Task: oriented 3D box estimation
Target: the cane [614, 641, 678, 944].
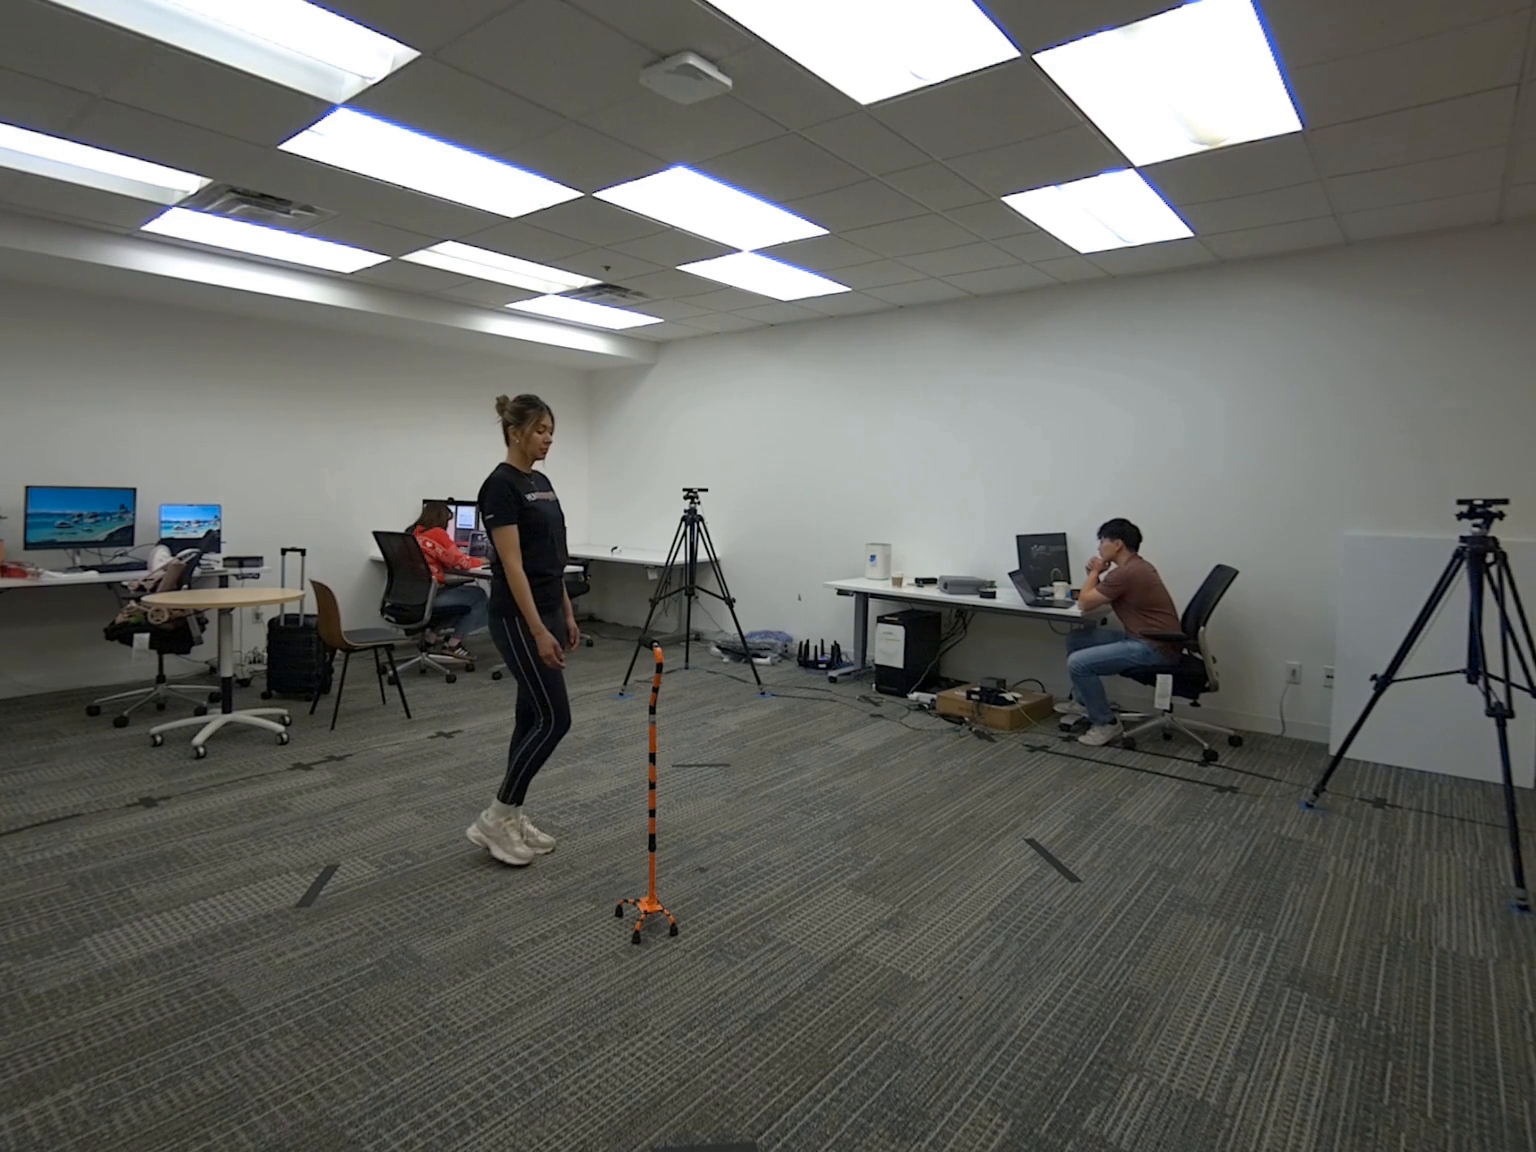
[{"bbox_3d":[-0.389,0.656,2.679,0.148,0.906,0.212,0,3,-24],"label":"cane"}]
